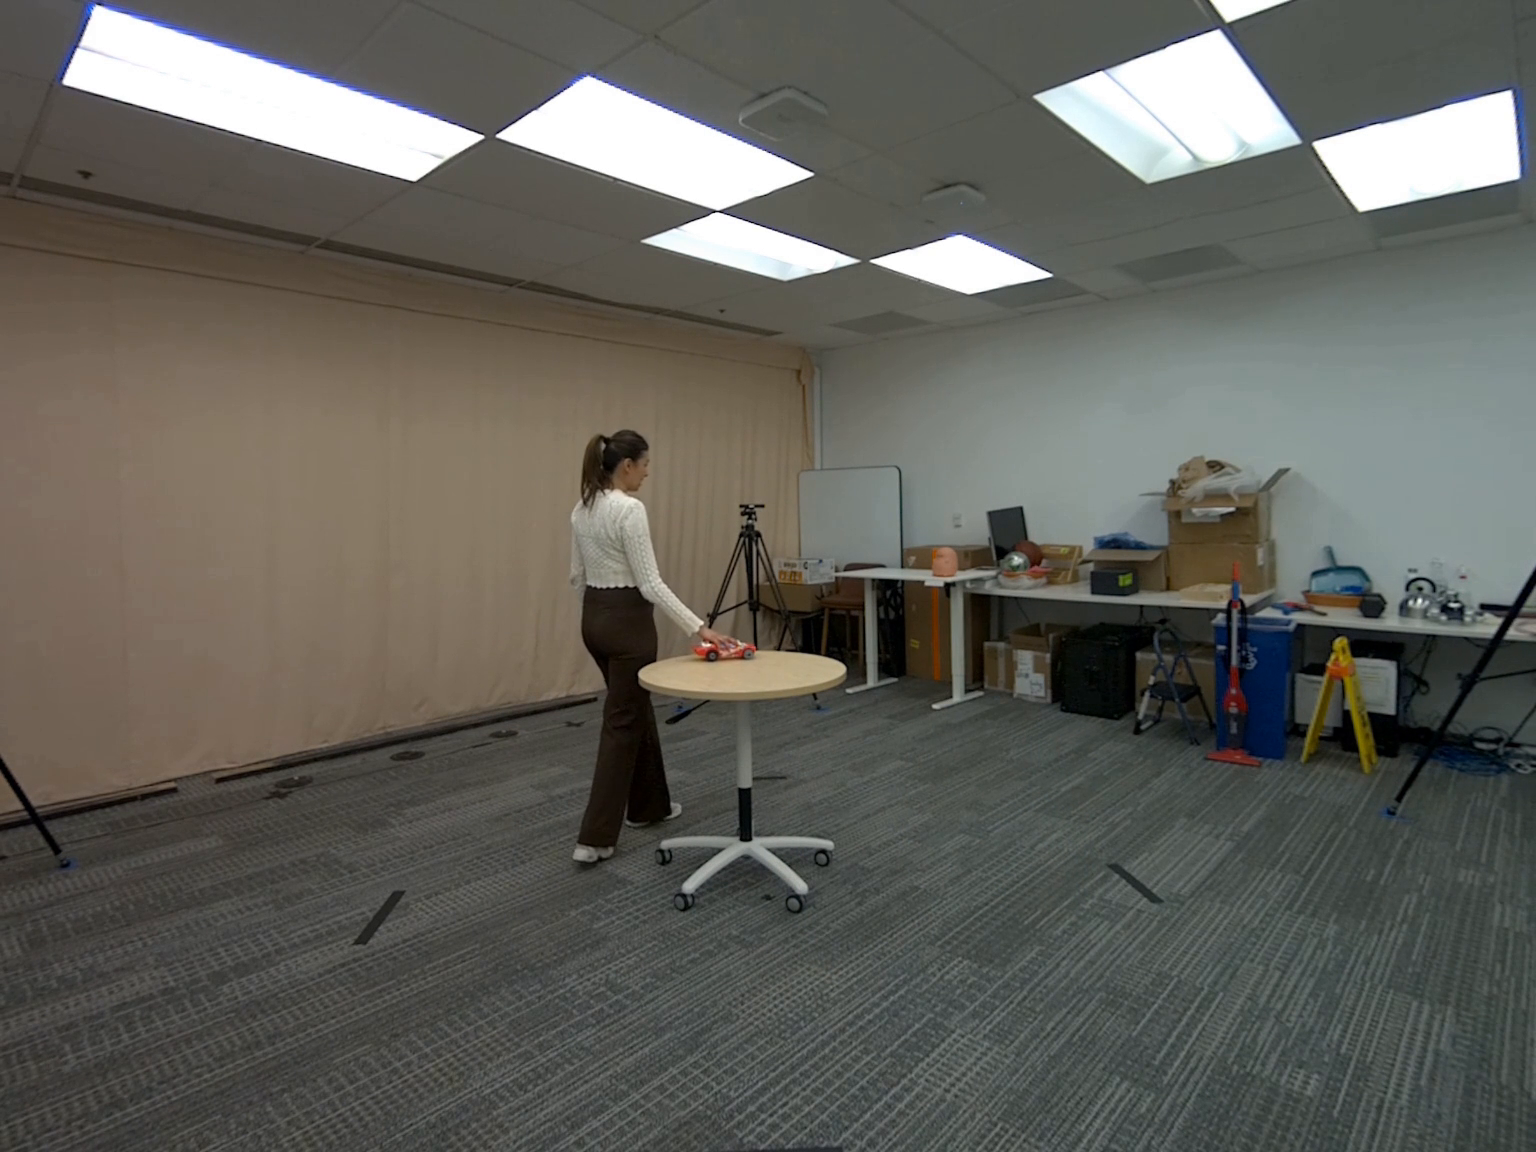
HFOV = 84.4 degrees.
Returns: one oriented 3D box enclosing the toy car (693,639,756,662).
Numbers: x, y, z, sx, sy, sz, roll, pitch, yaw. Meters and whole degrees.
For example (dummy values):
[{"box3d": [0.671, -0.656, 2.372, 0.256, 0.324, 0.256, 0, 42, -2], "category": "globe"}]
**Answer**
[{"box3d": [-0.181, 0.296, 3.336, 0.252, 0.083, 0.132, 8, 1, -10], "category": "toy car"}]
